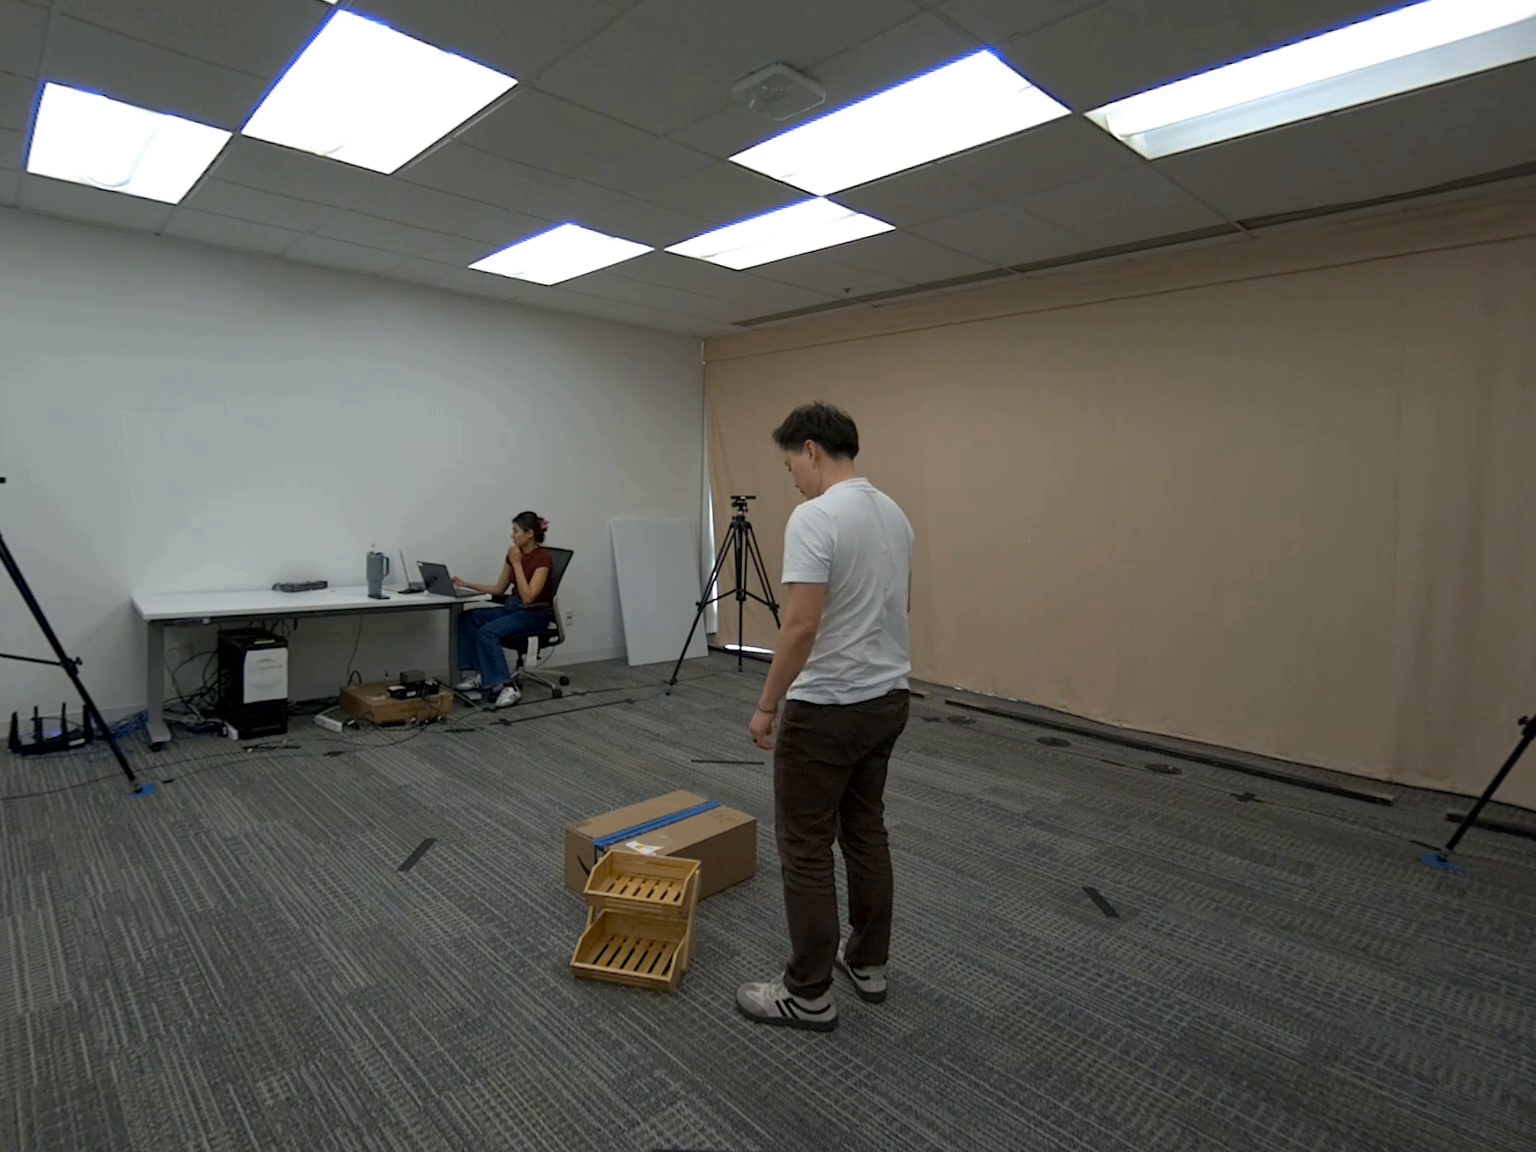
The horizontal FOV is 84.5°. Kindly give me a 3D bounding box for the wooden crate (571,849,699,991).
[{"bbox_3d":[-0.394,1.023,2.497,0.328,0.273,0.300,2,4,12],"label":"wooden crate"}]
